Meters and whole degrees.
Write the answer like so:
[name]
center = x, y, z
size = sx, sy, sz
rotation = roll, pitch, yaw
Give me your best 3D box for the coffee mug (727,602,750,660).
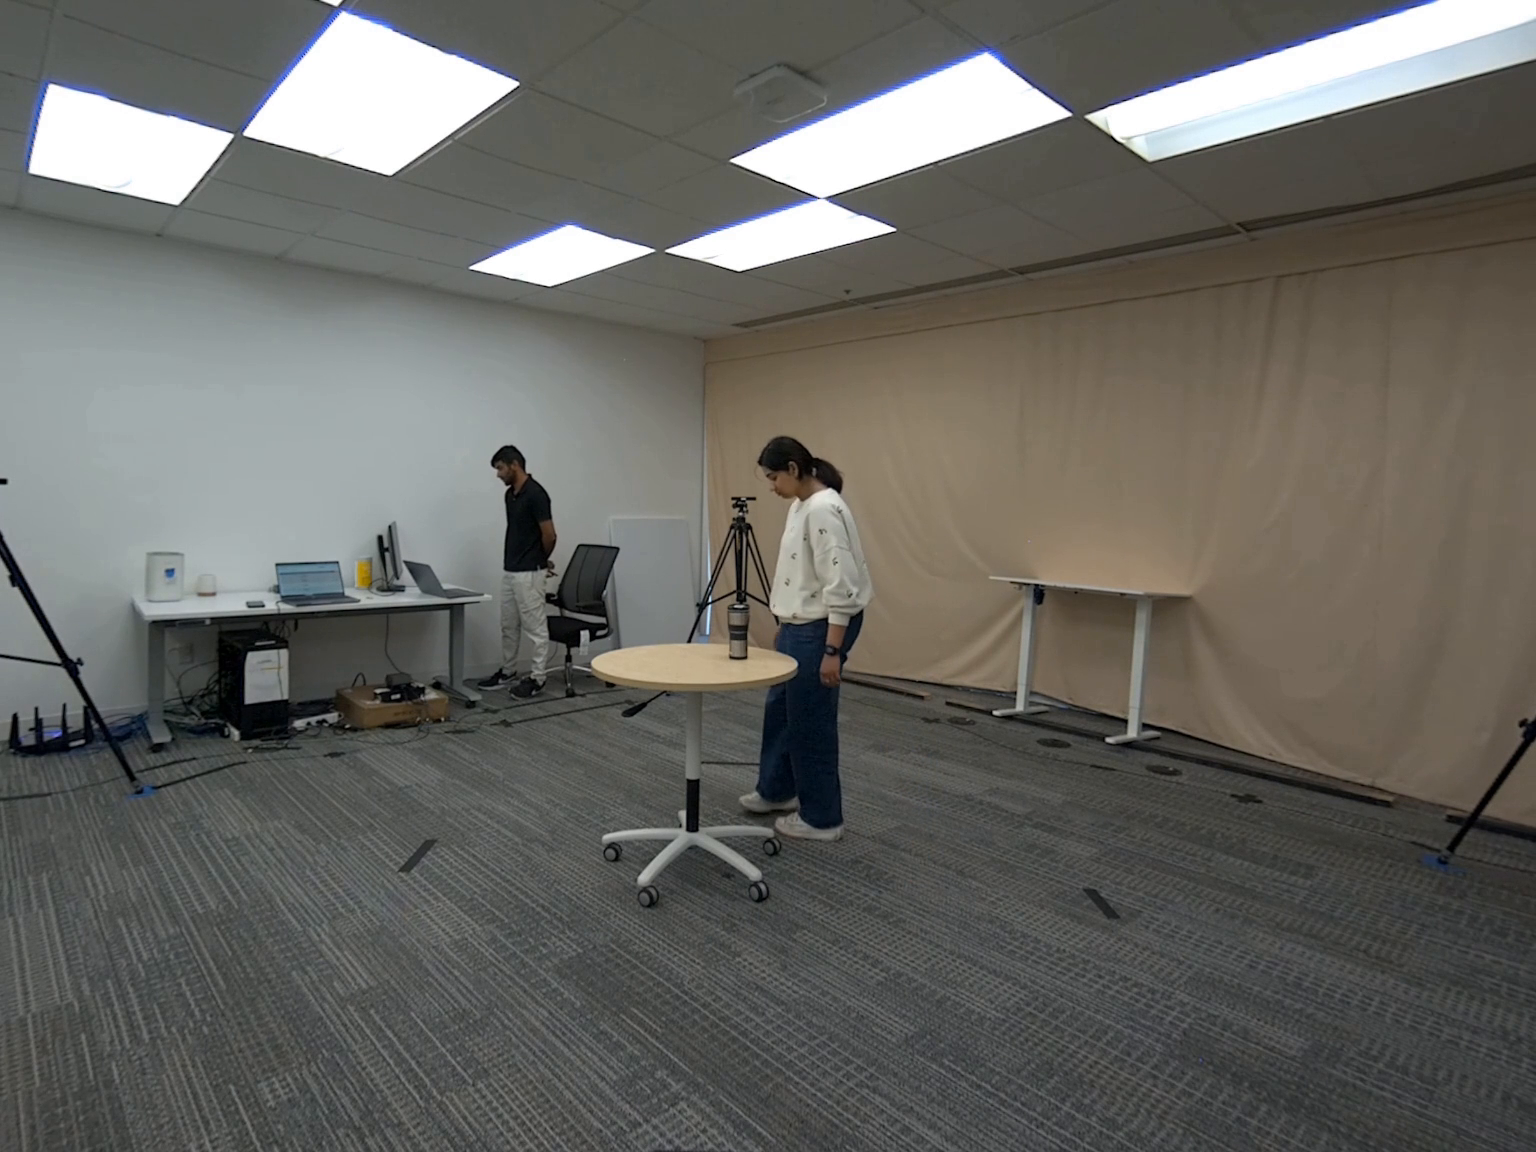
[coffee mug]
center = -0.123, 0.217, 3.178
size = 0.088, 0.203, 0.122
rotation = 5, 2, -2
